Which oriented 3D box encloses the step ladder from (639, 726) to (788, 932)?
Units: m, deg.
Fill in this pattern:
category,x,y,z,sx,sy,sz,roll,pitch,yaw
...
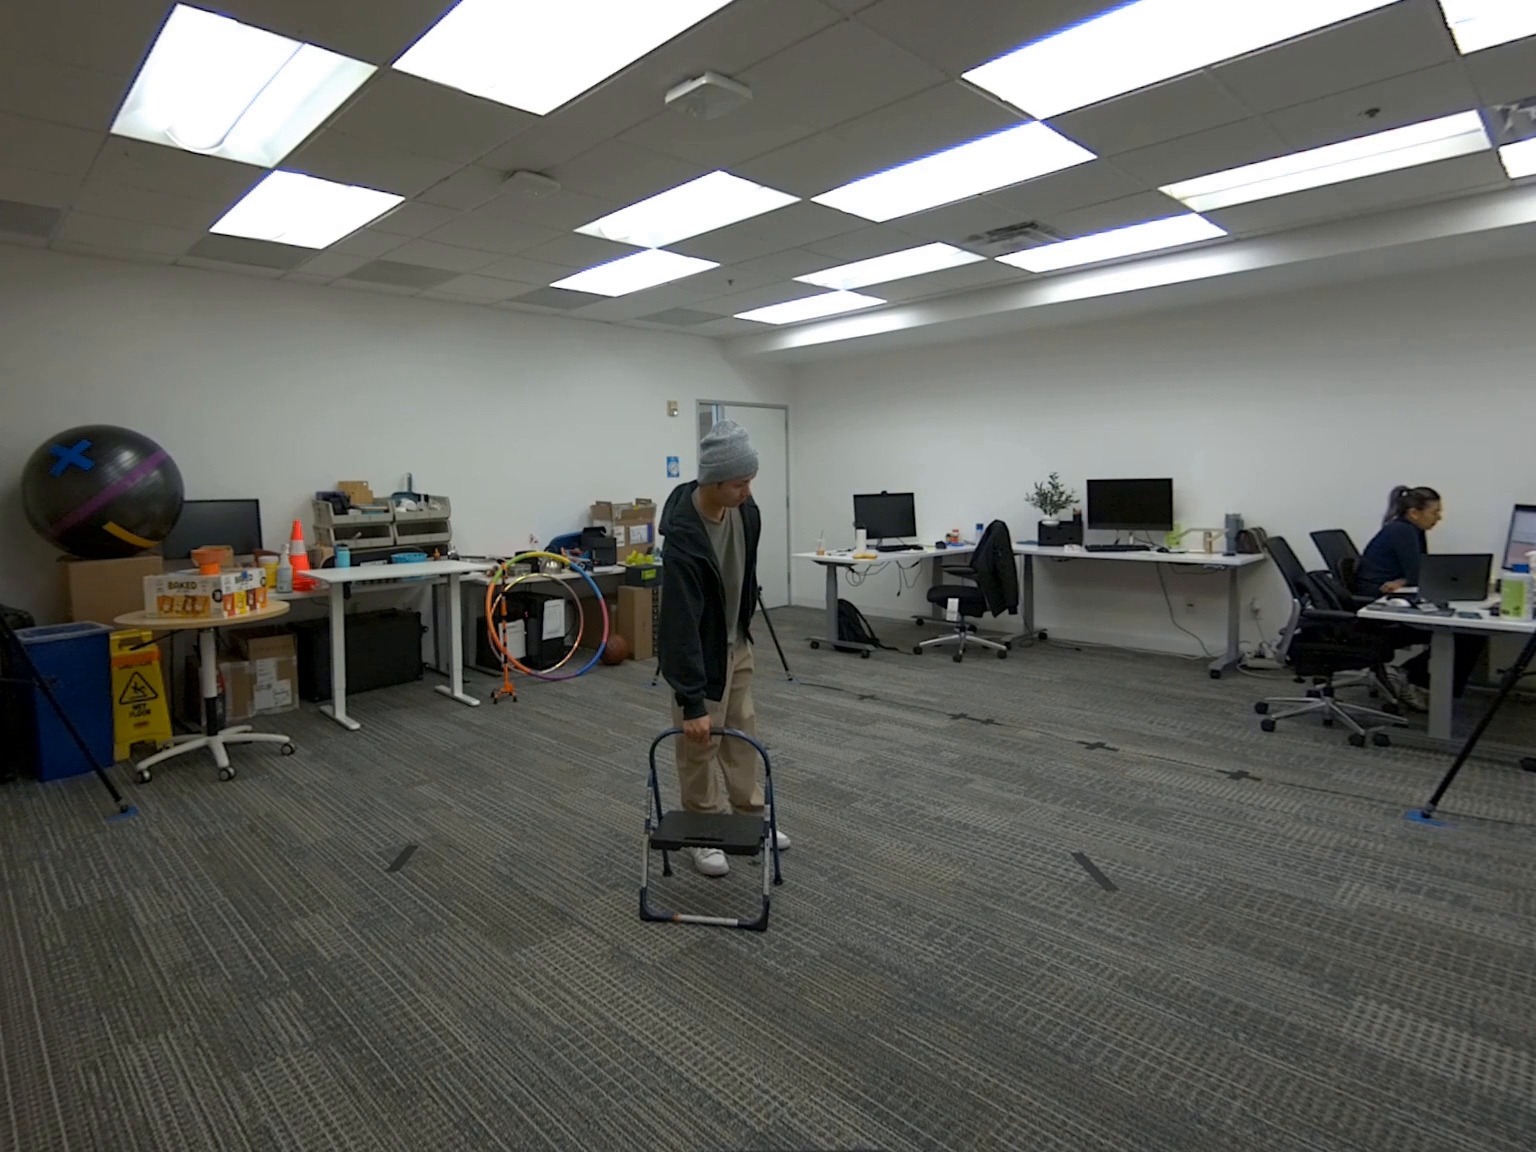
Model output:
category,x,y,z,sx,sy,sz,roll,pitch,yaw
step ladder,-0.189,0.778,2.823,0.435,0.604,0.347,1,4,10
